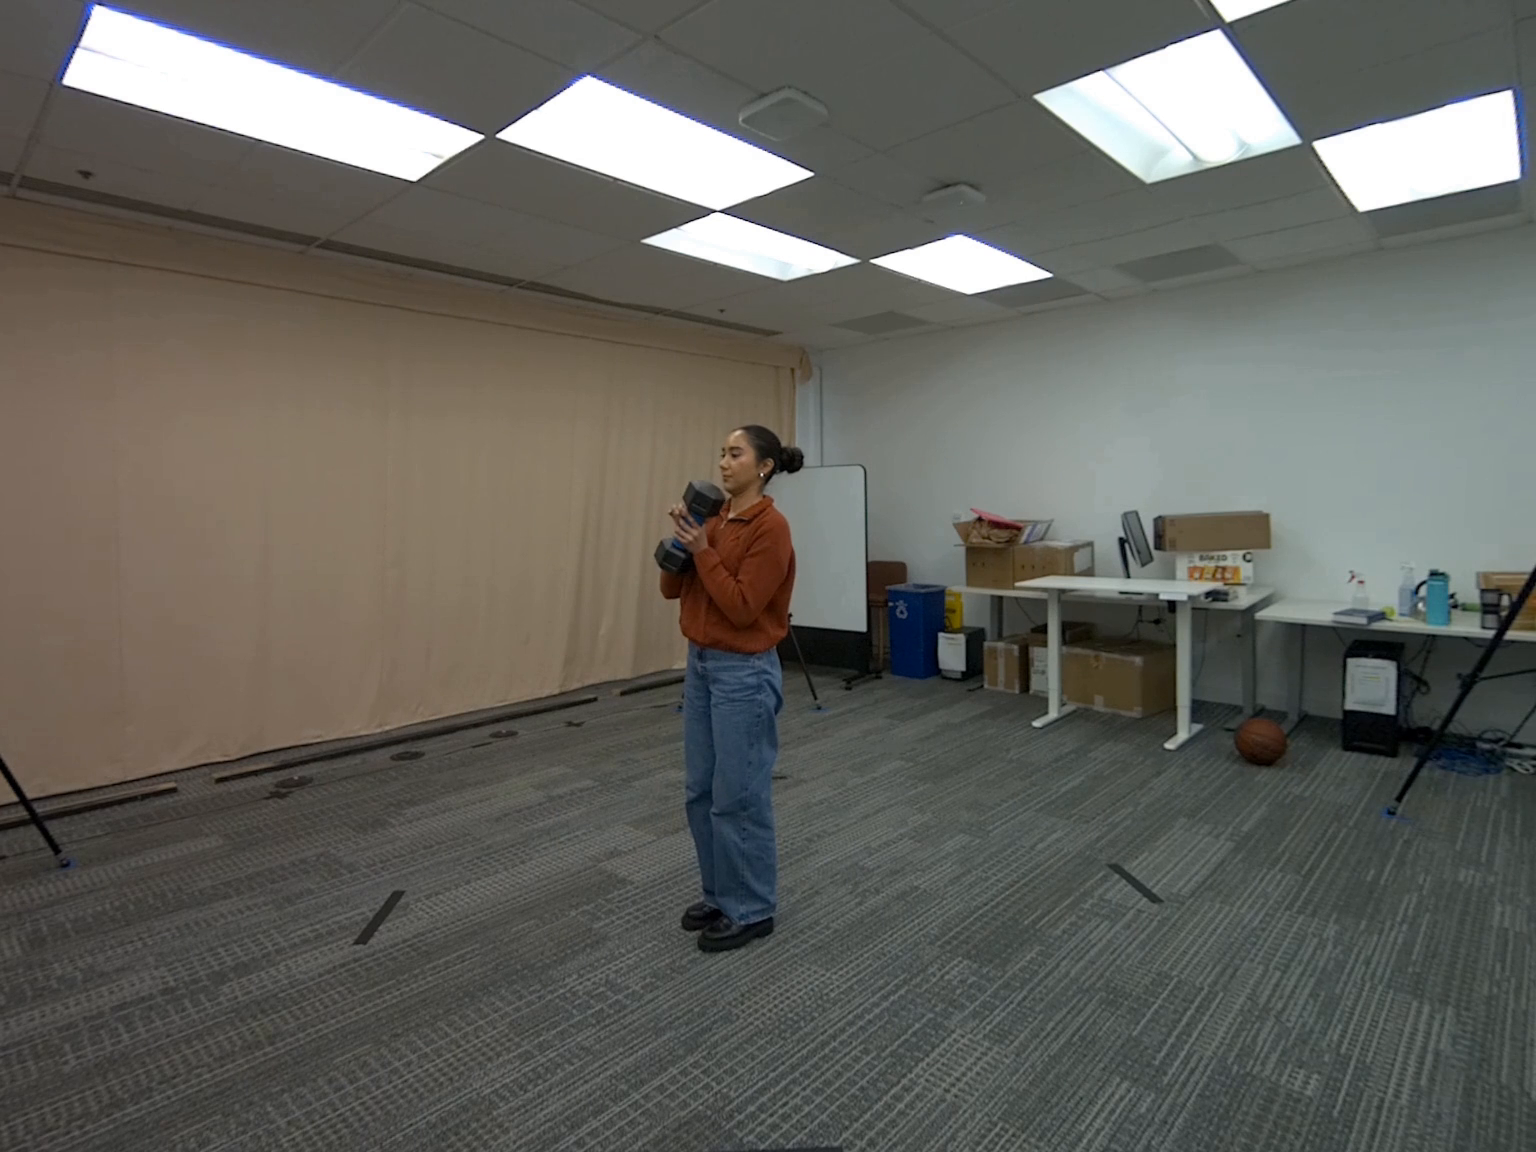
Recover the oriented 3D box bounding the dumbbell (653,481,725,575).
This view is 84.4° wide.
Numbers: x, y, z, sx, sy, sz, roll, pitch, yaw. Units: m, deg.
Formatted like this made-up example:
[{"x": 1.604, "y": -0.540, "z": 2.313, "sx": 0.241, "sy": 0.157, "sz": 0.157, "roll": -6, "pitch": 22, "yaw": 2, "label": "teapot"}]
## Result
[{"x": -0.242, "y": -0.148, "z": 2.592, "sx": 0.112, "sy": 0.293, "sz": 0.119, "roll": 40, "pitch": 20, "yaw": 25, "label": "dumbbell"}]
